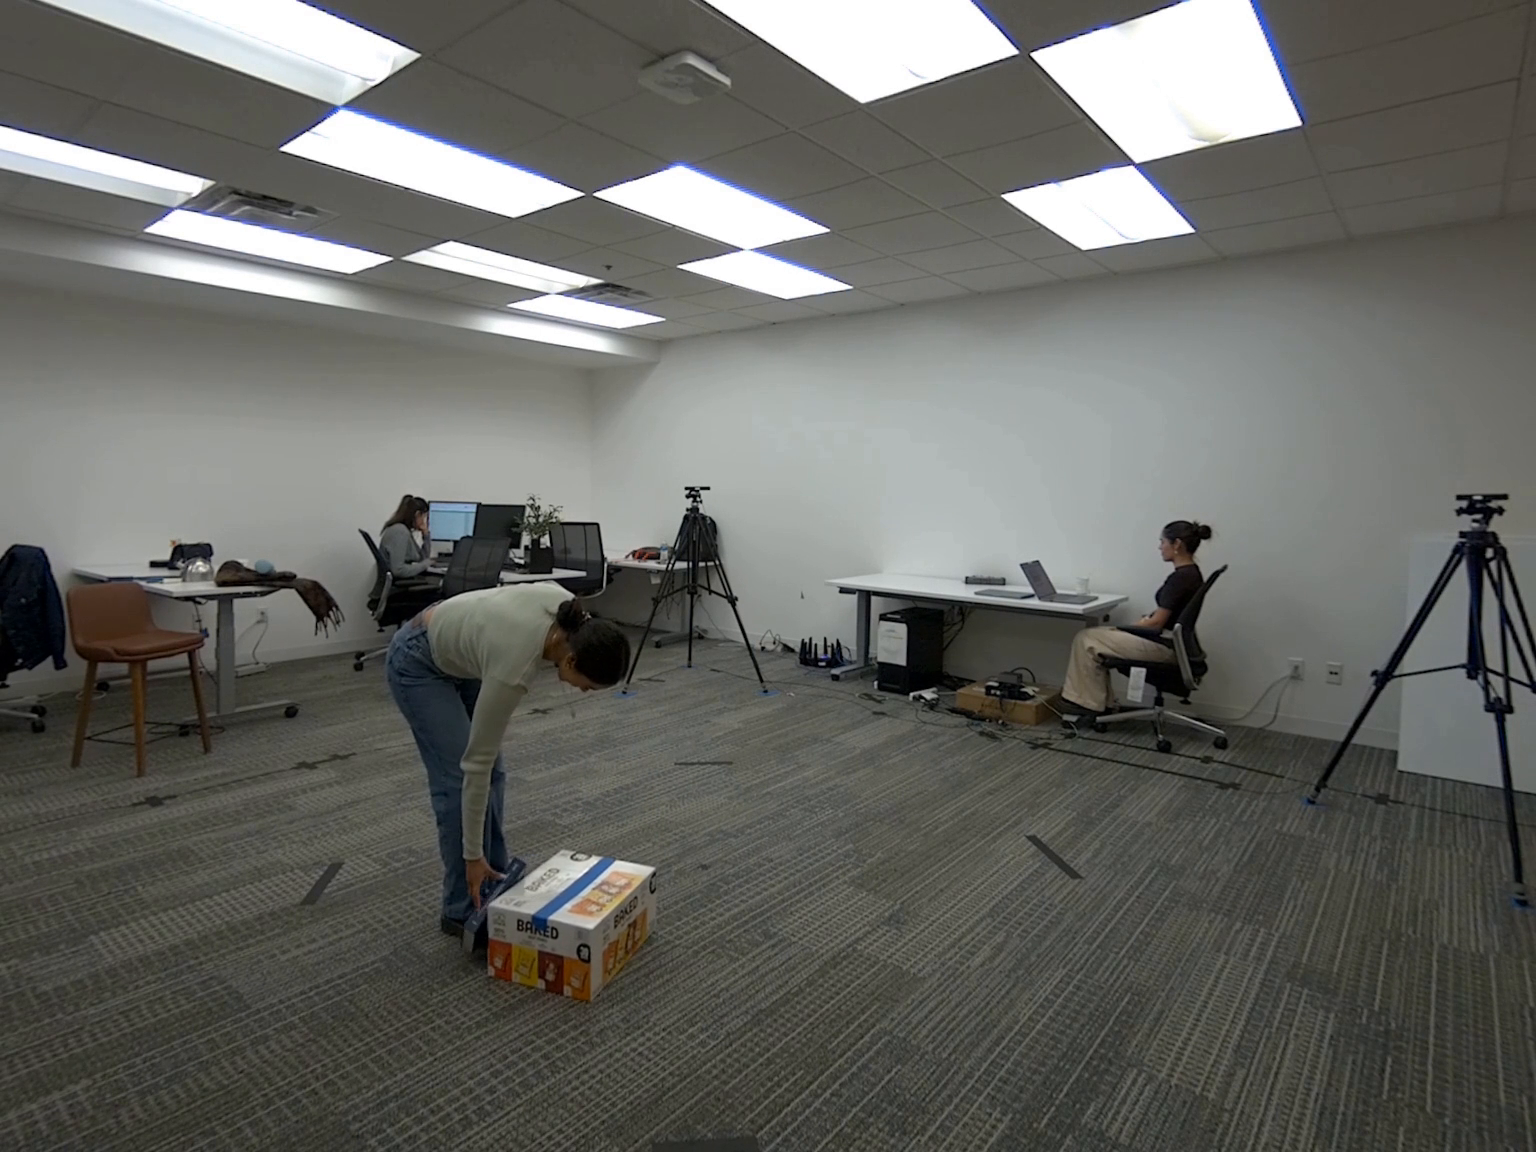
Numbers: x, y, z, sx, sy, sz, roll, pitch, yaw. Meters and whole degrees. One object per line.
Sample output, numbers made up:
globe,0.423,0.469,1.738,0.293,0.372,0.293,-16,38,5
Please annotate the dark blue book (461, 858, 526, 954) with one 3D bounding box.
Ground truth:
dark blue book,-0.821,0.976,2.526,0.045,0.161,0.247,26,41,3
